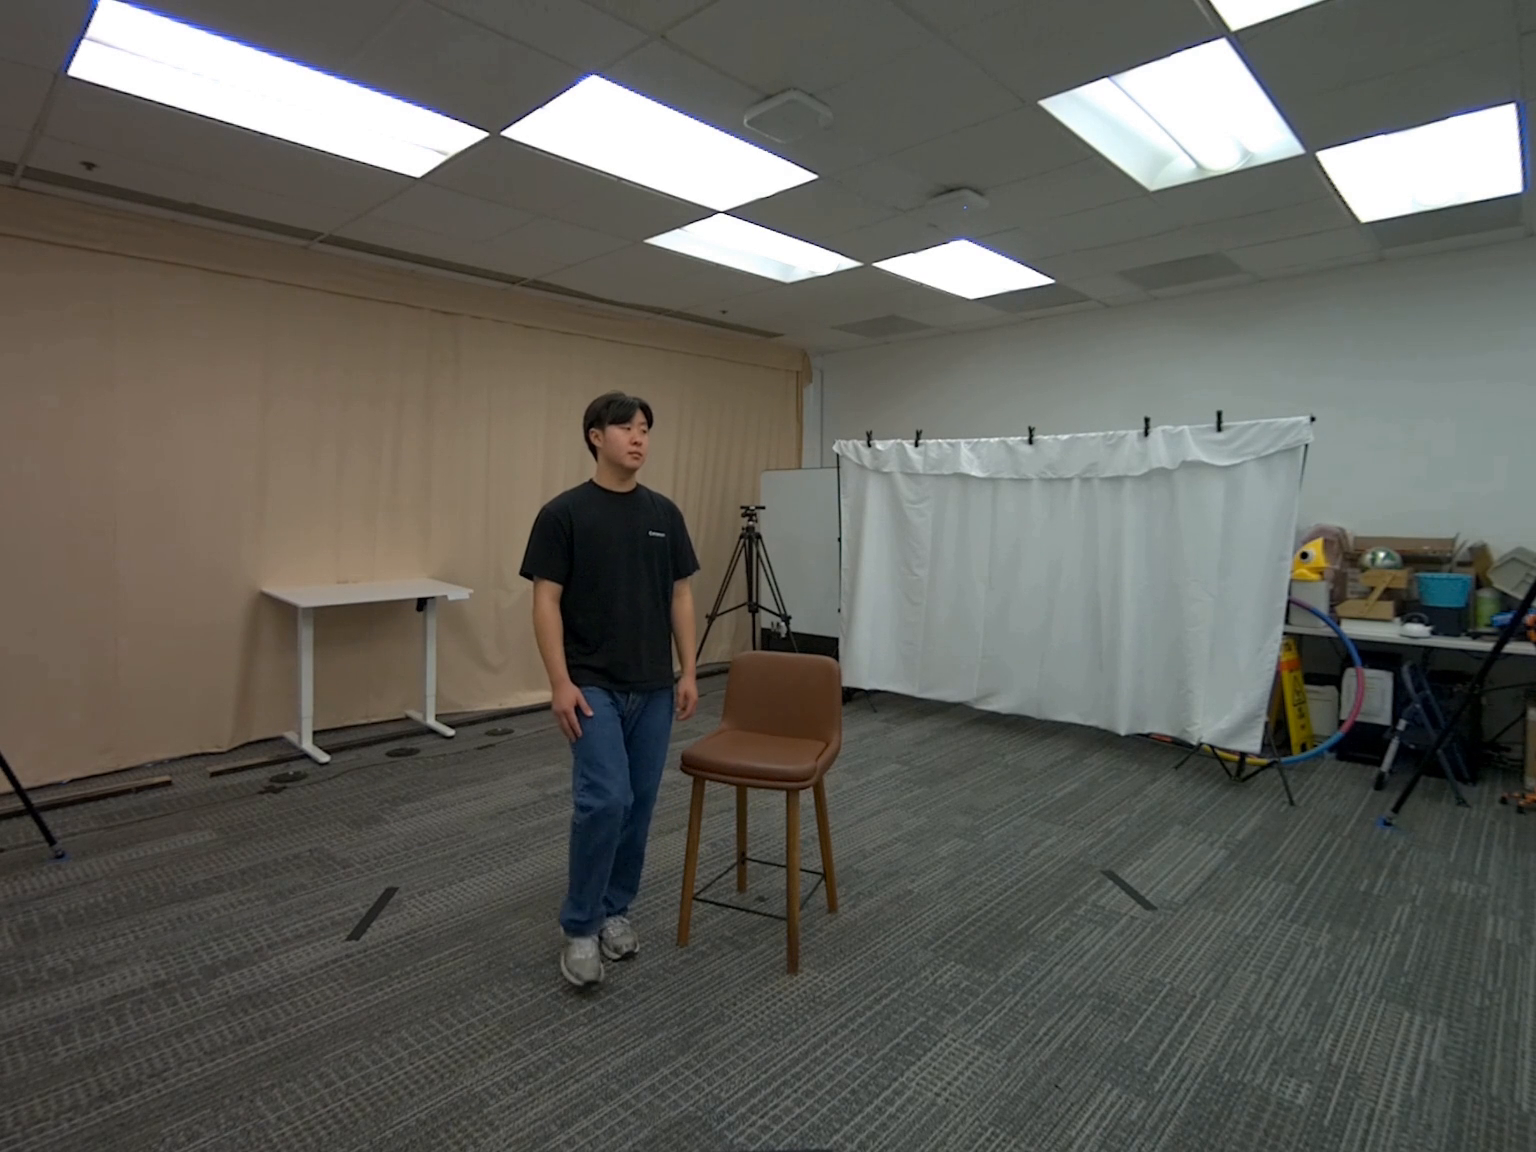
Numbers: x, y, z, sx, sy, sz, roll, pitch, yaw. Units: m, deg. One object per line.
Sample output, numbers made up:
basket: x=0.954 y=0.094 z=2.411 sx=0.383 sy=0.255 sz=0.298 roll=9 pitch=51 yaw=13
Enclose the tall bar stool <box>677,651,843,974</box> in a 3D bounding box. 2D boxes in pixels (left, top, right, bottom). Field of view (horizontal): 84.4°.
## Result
tall bar stool: x=-0.010 y=0.729 z=2.761 sx=0.469 sy=0.888 sz=0.456 roll=2 pitch=2 yaw=26
